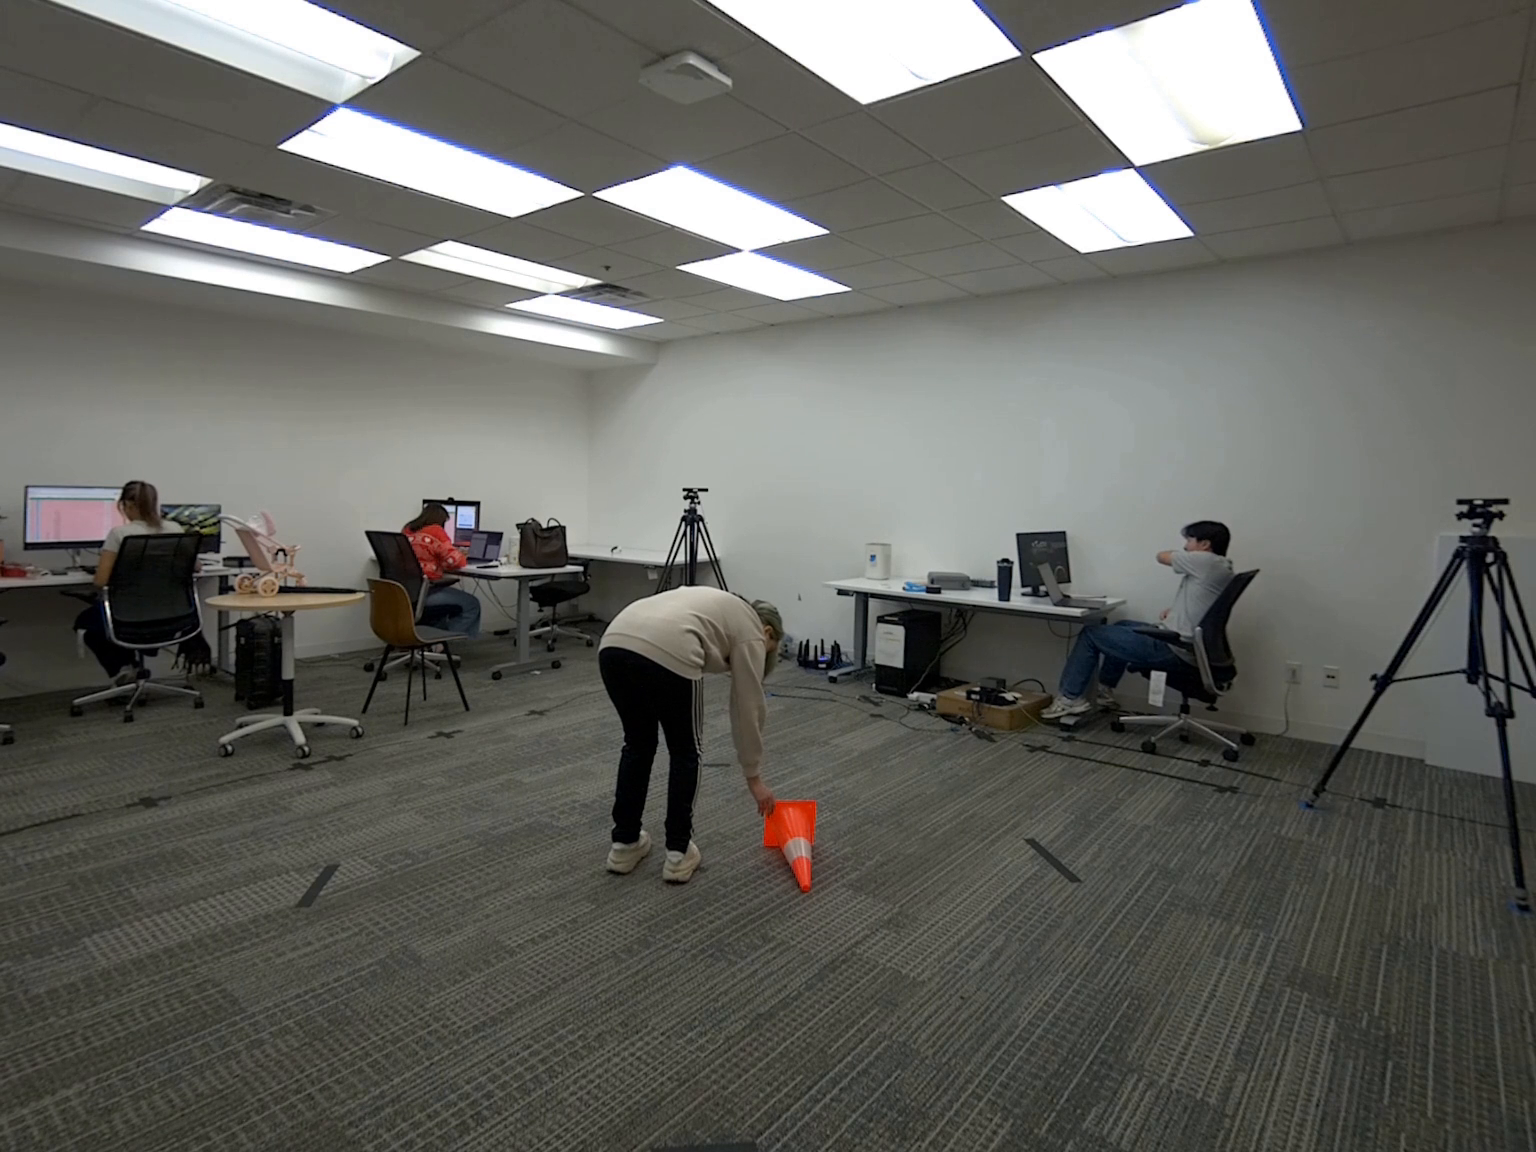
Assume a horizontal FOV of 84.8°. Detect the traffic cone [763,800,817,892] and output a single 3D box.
[{"bbox_3d":[0.106,1.026,3.126,0.203,0.200,0.393,0,16,-10],"label":"traffic cone"}]
